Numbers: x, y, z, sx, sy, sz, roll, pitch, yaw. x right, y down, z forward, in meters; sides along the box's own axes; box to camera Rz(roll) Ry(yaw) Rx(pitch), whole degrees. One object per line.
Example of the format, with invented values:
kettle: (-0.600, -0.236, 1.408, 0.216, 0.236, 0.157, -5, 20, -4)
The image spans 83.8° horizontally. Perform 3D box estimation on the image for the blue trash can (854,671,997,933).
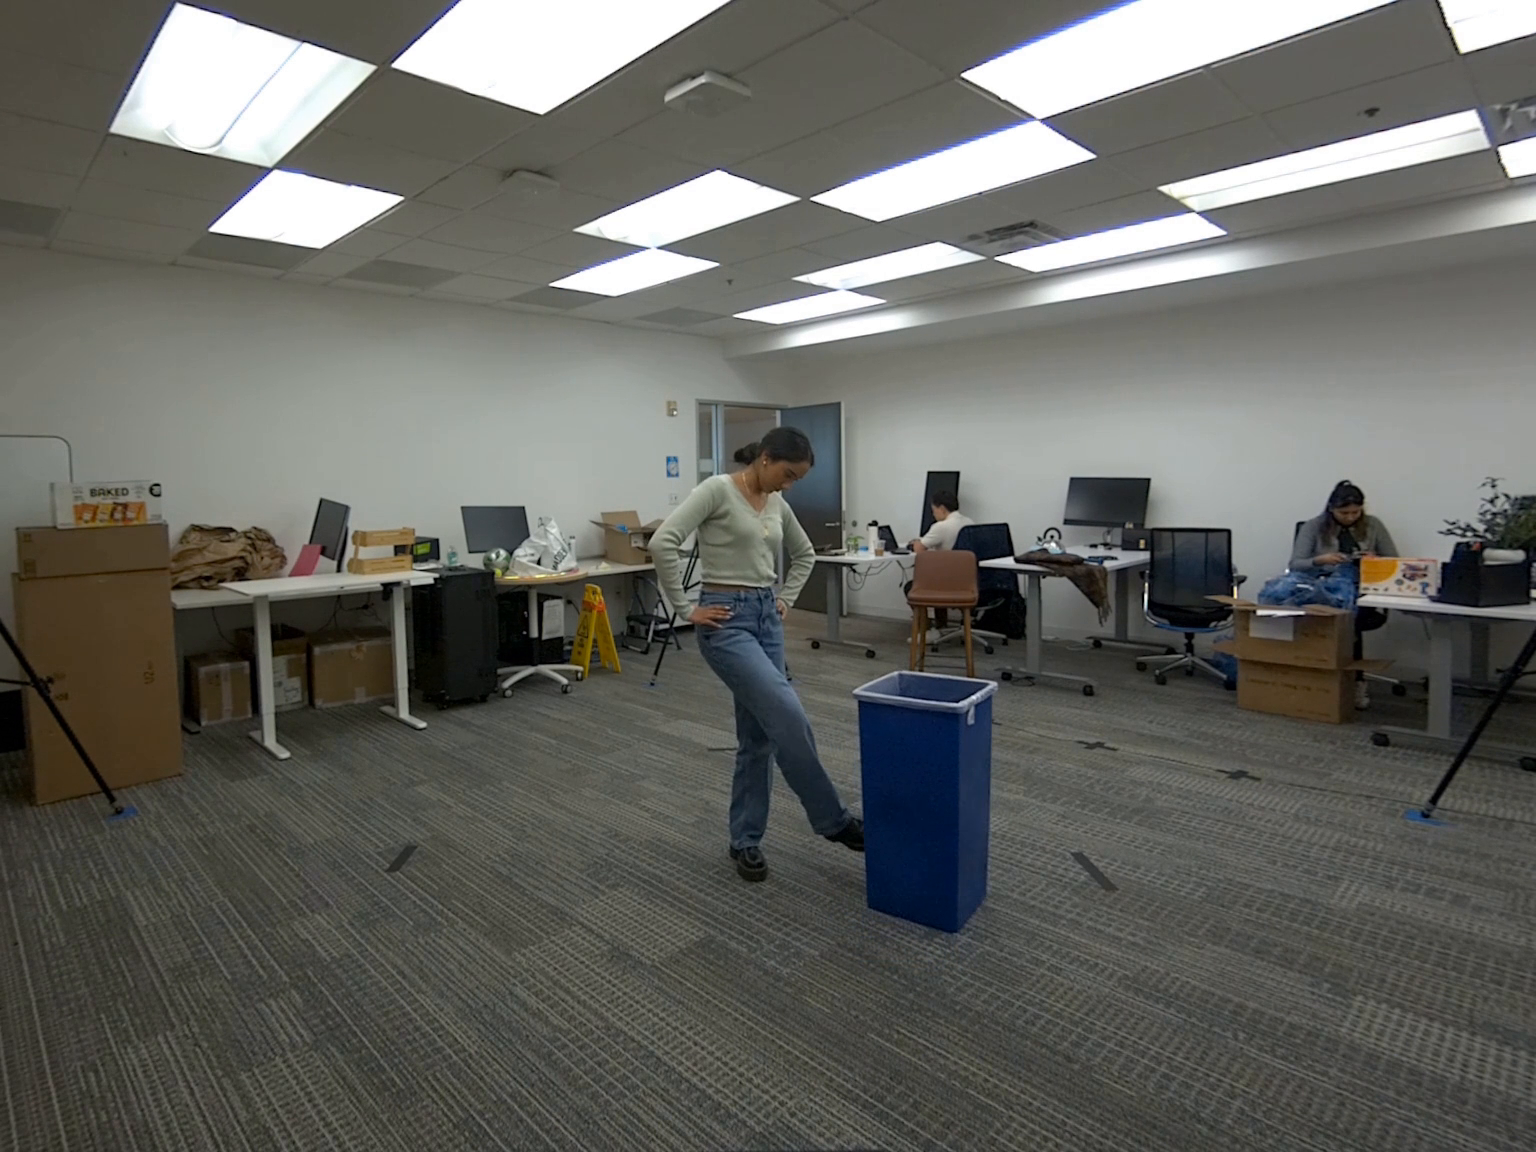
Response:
blue trash can: (0.523, 0.714, 2.784, 0.388, 0.711, 0.365, 2, 5, 33)
